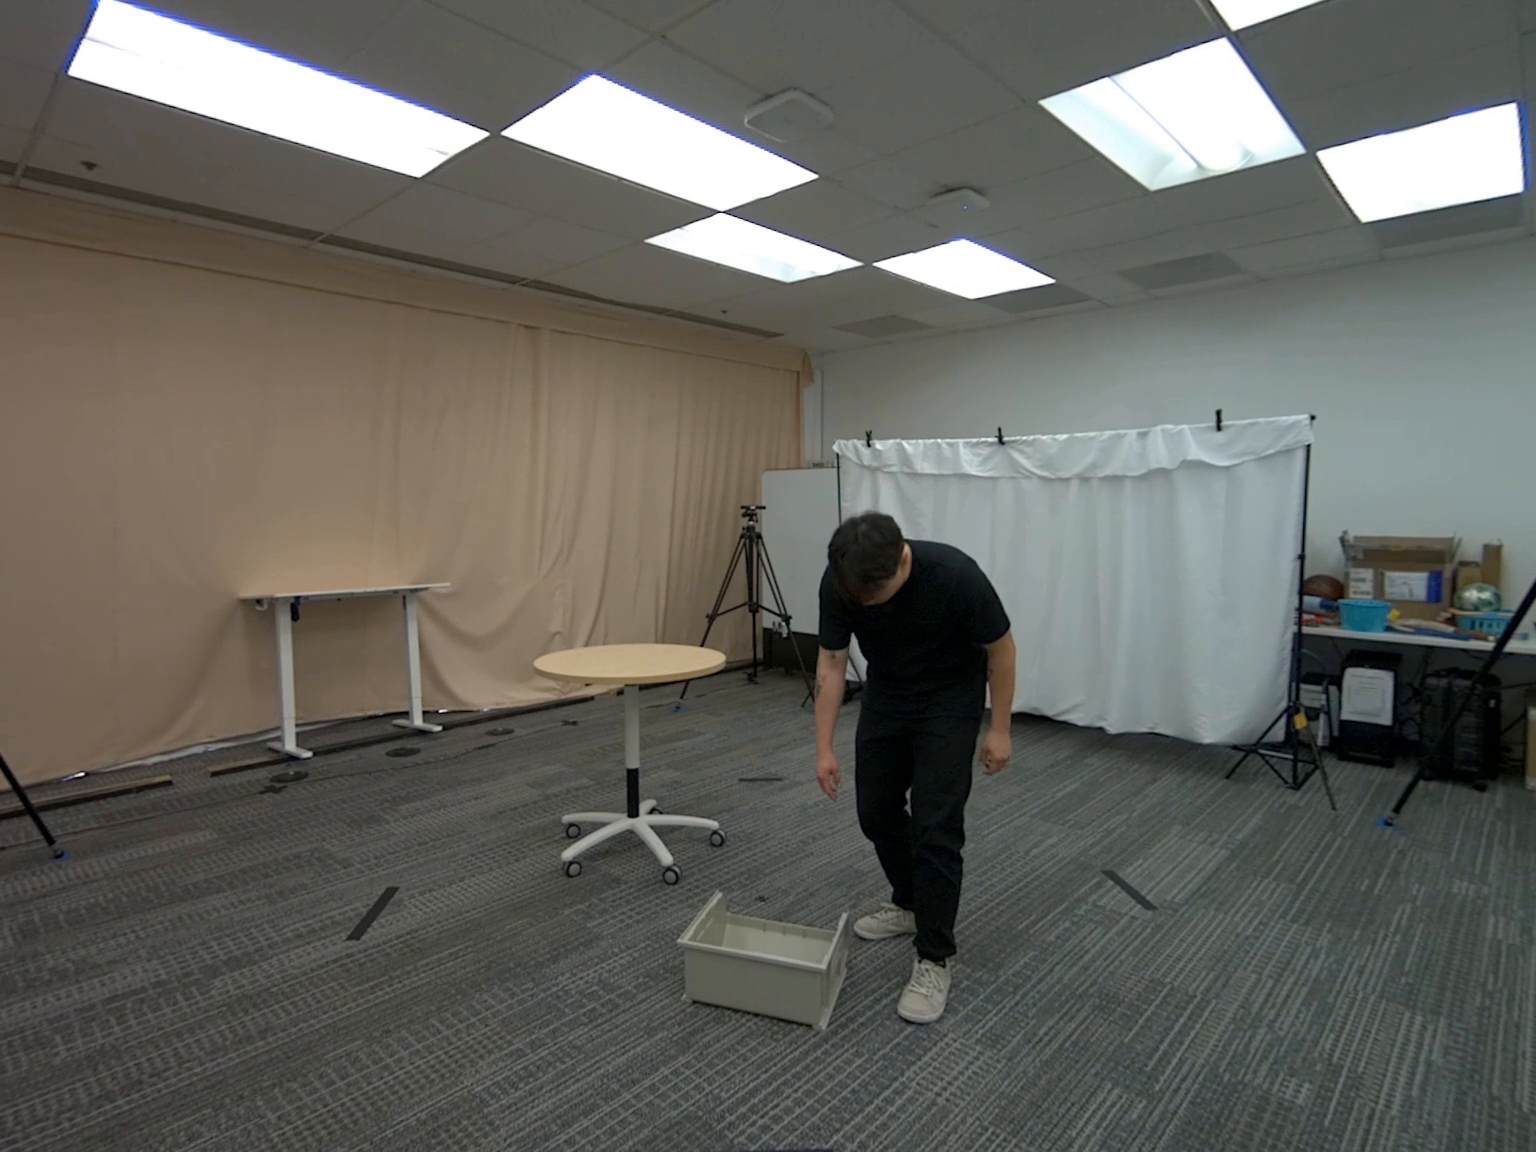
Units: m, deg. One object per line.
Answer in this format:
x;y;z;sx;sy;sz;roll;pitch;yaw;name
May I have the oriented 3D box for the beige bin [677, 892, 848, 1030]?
0.004;1.101;2.454;0.430;0.188;0.371;2;6;17;beige bin
